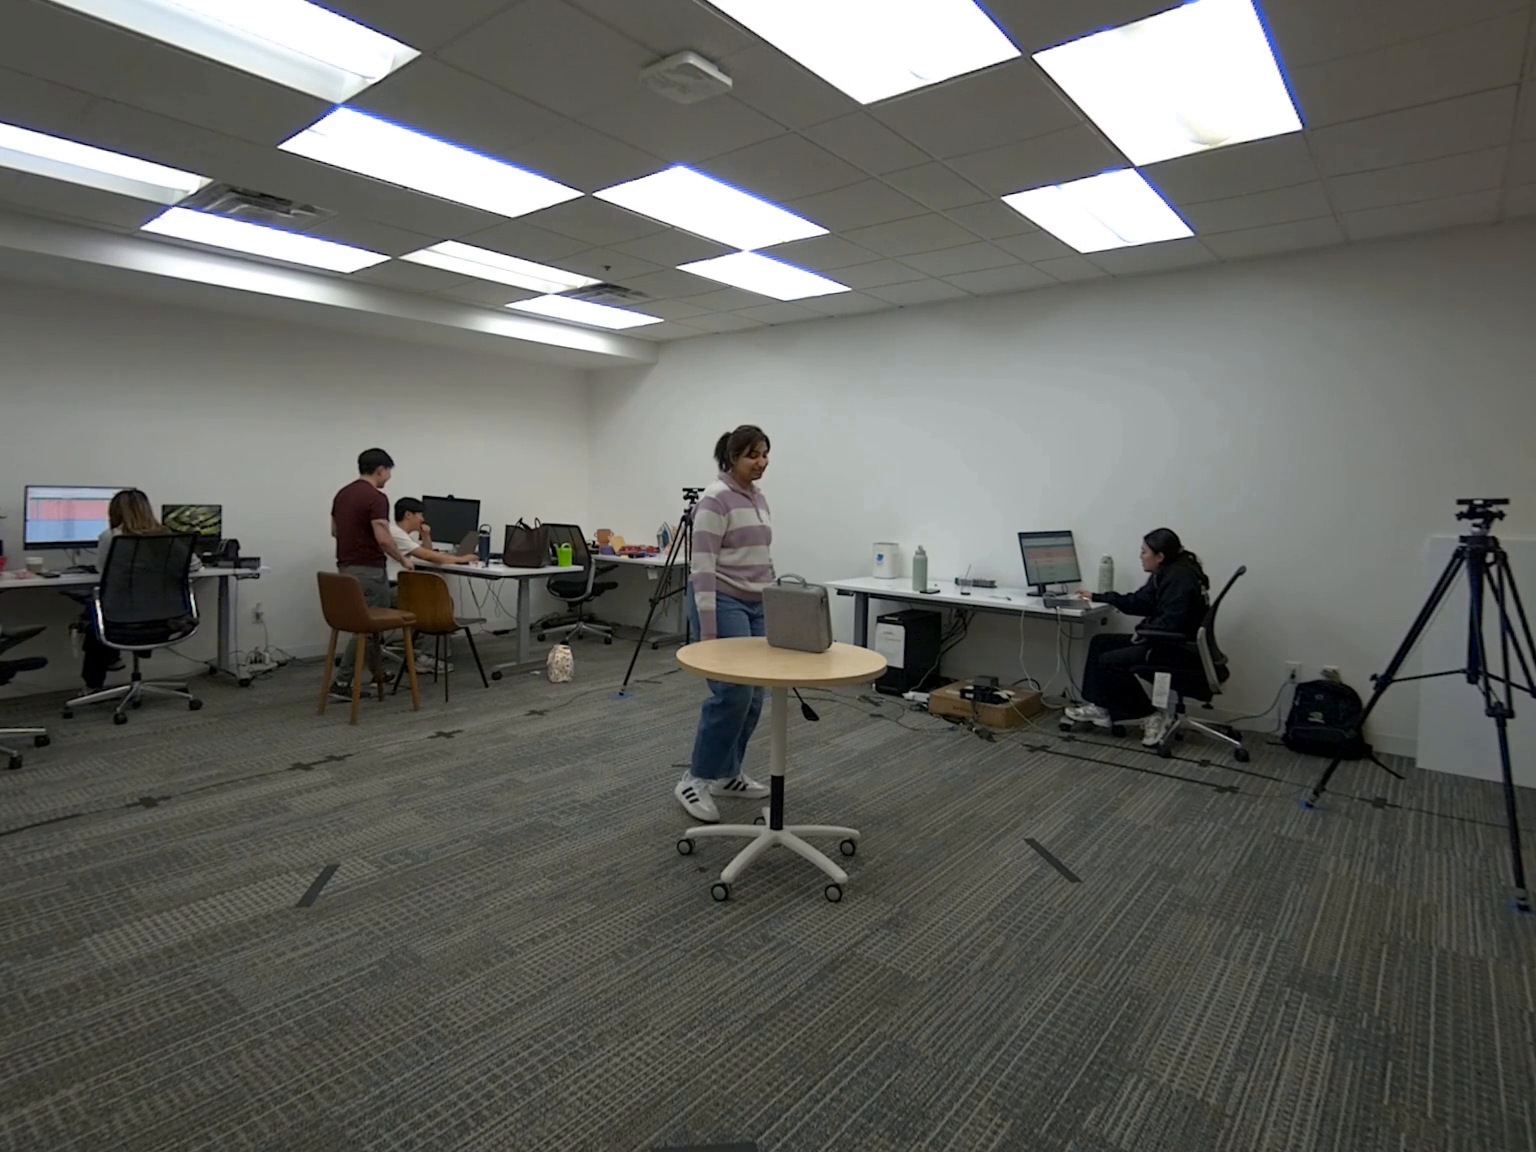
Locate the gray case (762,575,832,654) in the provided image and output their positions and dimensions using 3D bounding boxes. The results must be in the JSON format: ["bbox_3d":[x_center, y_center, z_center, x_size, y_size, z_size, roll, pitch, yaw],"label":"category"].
[{"bbox_3d":[0.101,0.146,3.234,0.265,0.257,0.102,4,17,35],"label":"gray case"}]
